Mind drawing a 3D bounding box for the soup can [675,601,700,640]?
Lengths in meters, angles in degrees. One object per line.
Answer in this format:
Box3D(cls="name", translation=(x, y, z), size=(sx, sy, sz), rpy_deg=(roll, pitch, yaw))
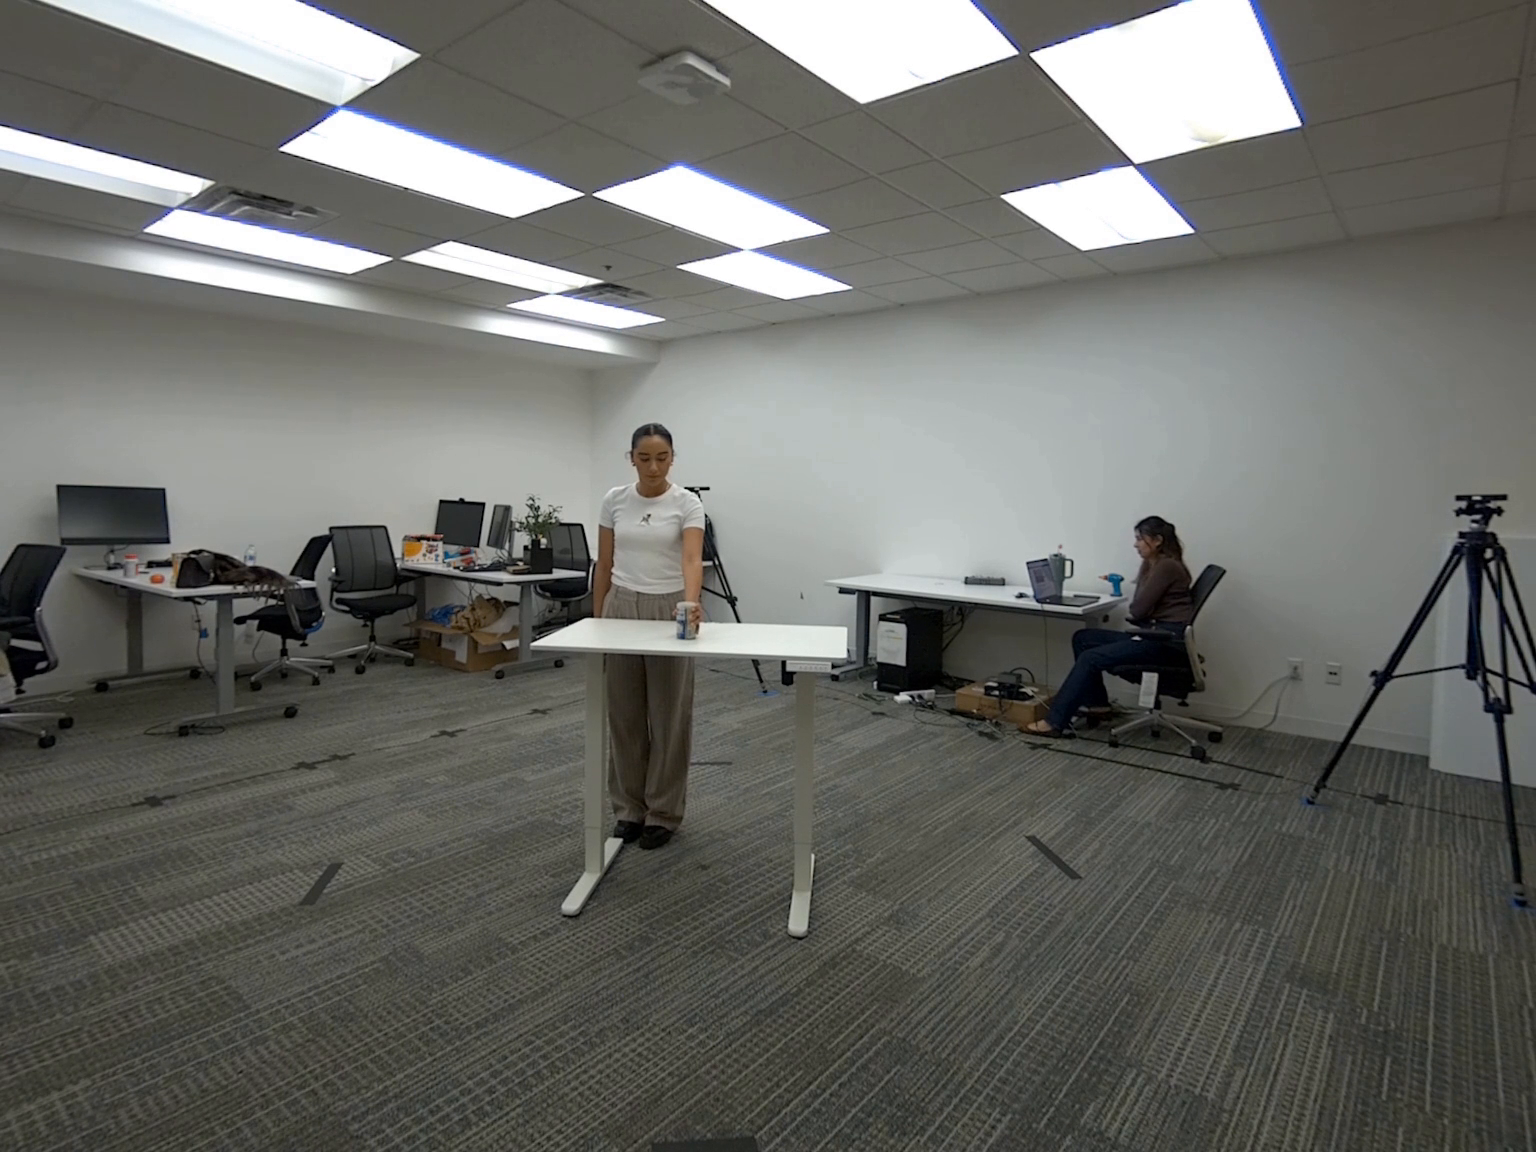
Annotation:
Box3D(cls="soup can", translation=(-0.285, 0.149, 2.868), size=(0.067, 0.121, 0.067), rpy_deg=(3, 4, -2))
